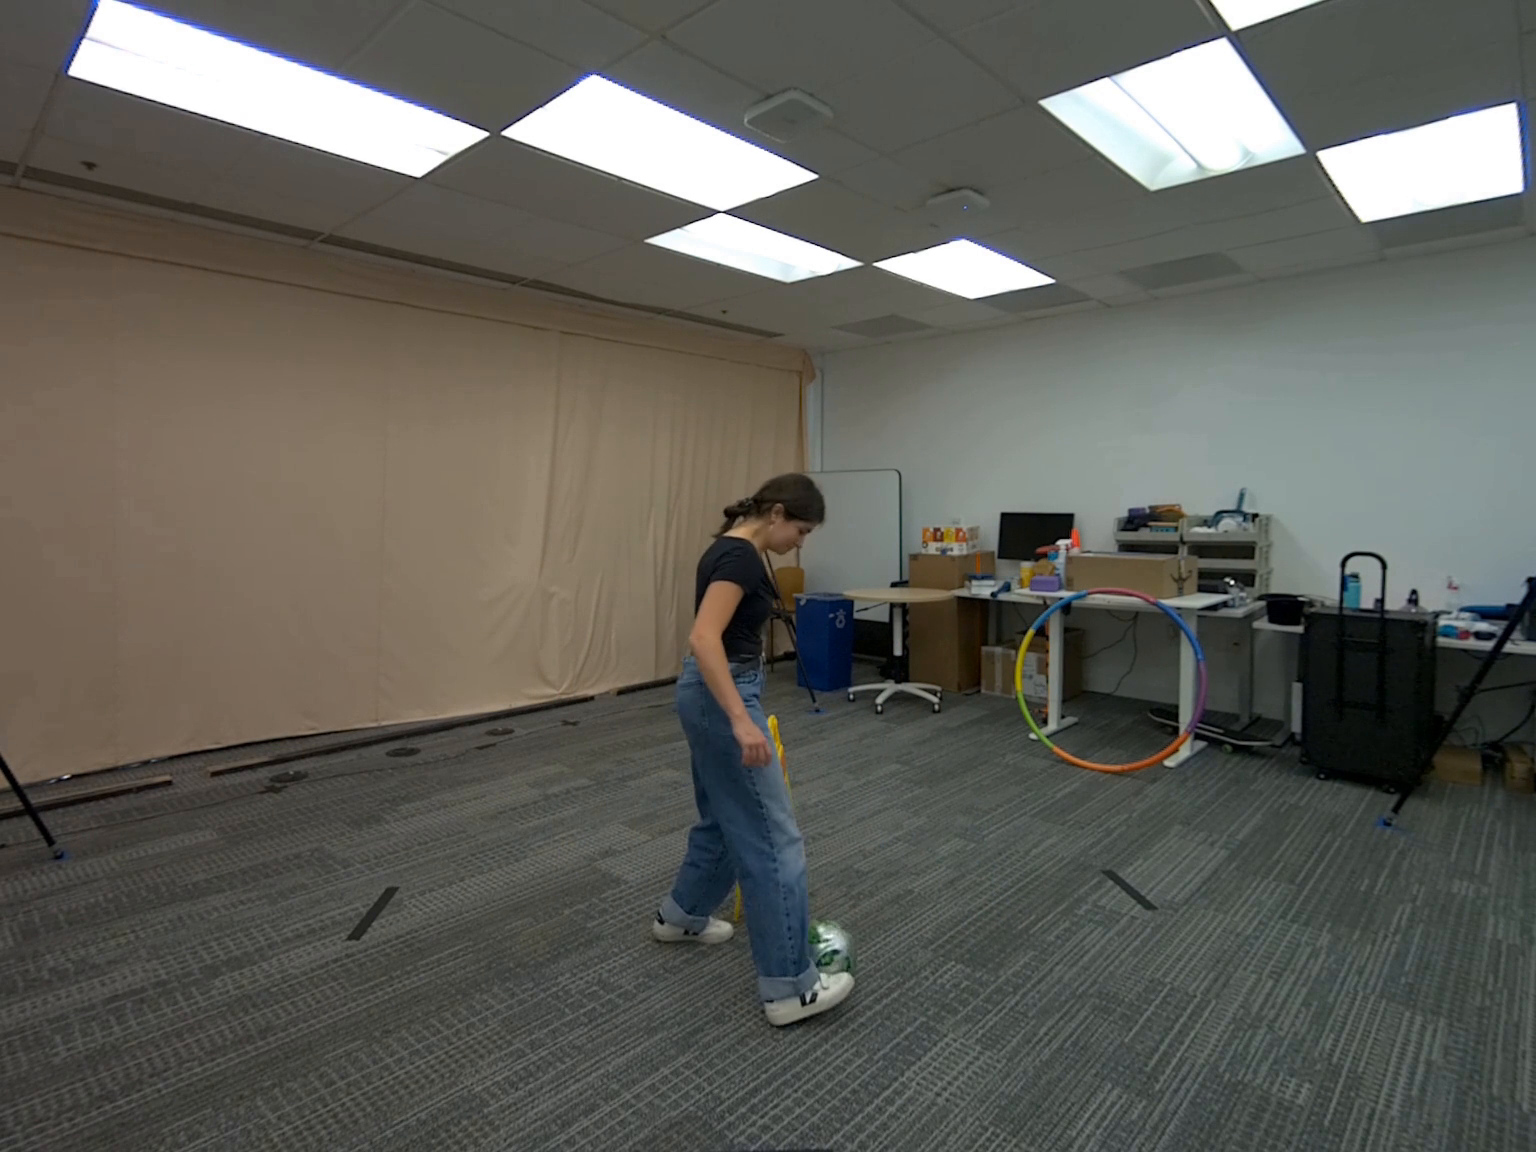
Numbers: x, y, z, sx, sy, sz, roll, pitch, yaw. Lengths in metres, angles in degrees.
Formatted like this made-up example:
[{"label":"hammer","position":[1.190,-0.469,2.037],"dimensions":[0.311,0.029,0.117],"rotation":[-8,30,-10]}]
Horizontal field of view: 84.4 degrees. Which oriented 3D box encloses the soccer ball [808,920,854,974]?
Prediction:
[{"label":"soccer ball","position":[0.173,1.103,2.434],"dimensions":[0.187,0.187,0.188],"rotation":[0,4,-2]}]
